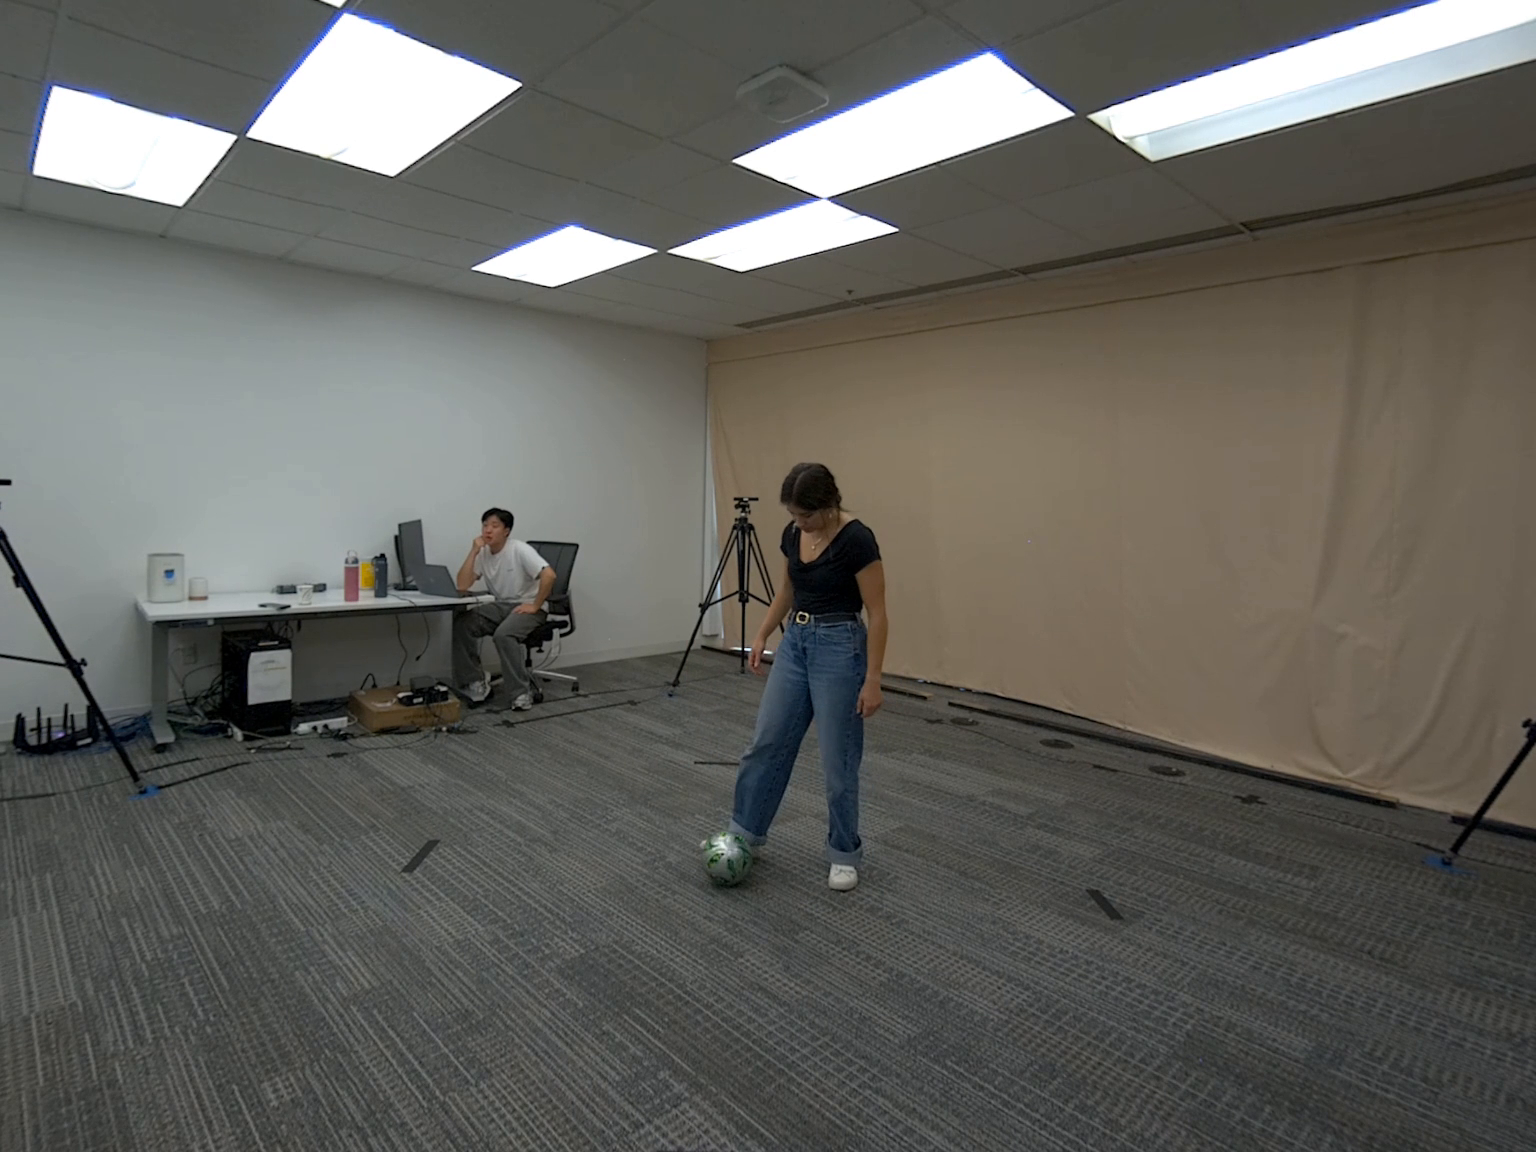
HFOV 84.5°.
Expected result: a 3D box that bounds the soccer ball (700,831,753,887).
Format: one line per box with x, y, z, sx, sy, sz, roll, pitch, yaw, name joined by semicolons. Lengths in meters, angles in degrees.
-0.155;1.020;3.038;0.187;0.187;0.188;1;4;-1;soccer ball
